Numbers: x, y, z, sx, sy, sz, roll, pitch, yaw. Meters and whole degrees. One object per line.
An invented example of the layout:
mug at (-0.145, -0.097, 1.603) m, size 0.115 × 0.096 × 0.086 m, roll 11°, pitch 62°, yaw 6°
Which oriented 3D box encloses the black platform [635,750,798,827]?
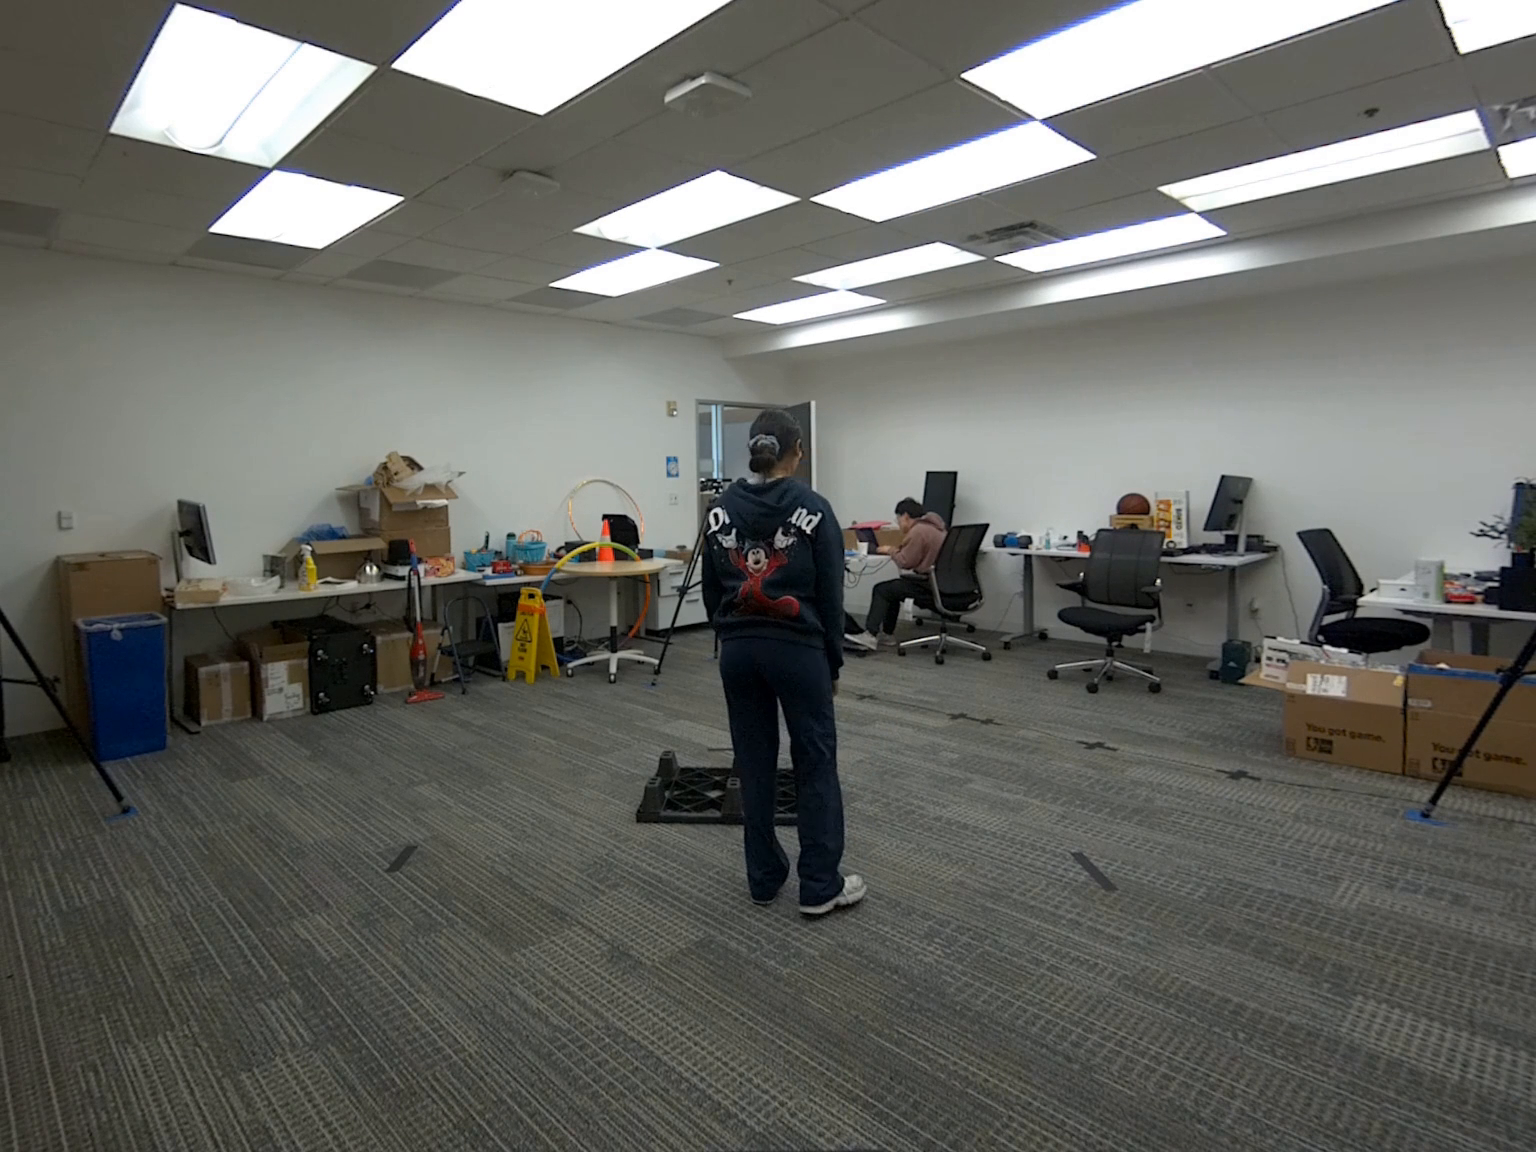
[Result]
black platform at (-0.128, 0.910, 3.753) m, size 0.809 × 0.142 × 0.605 m, roll 0°, pitch 6°, yaw 4°
